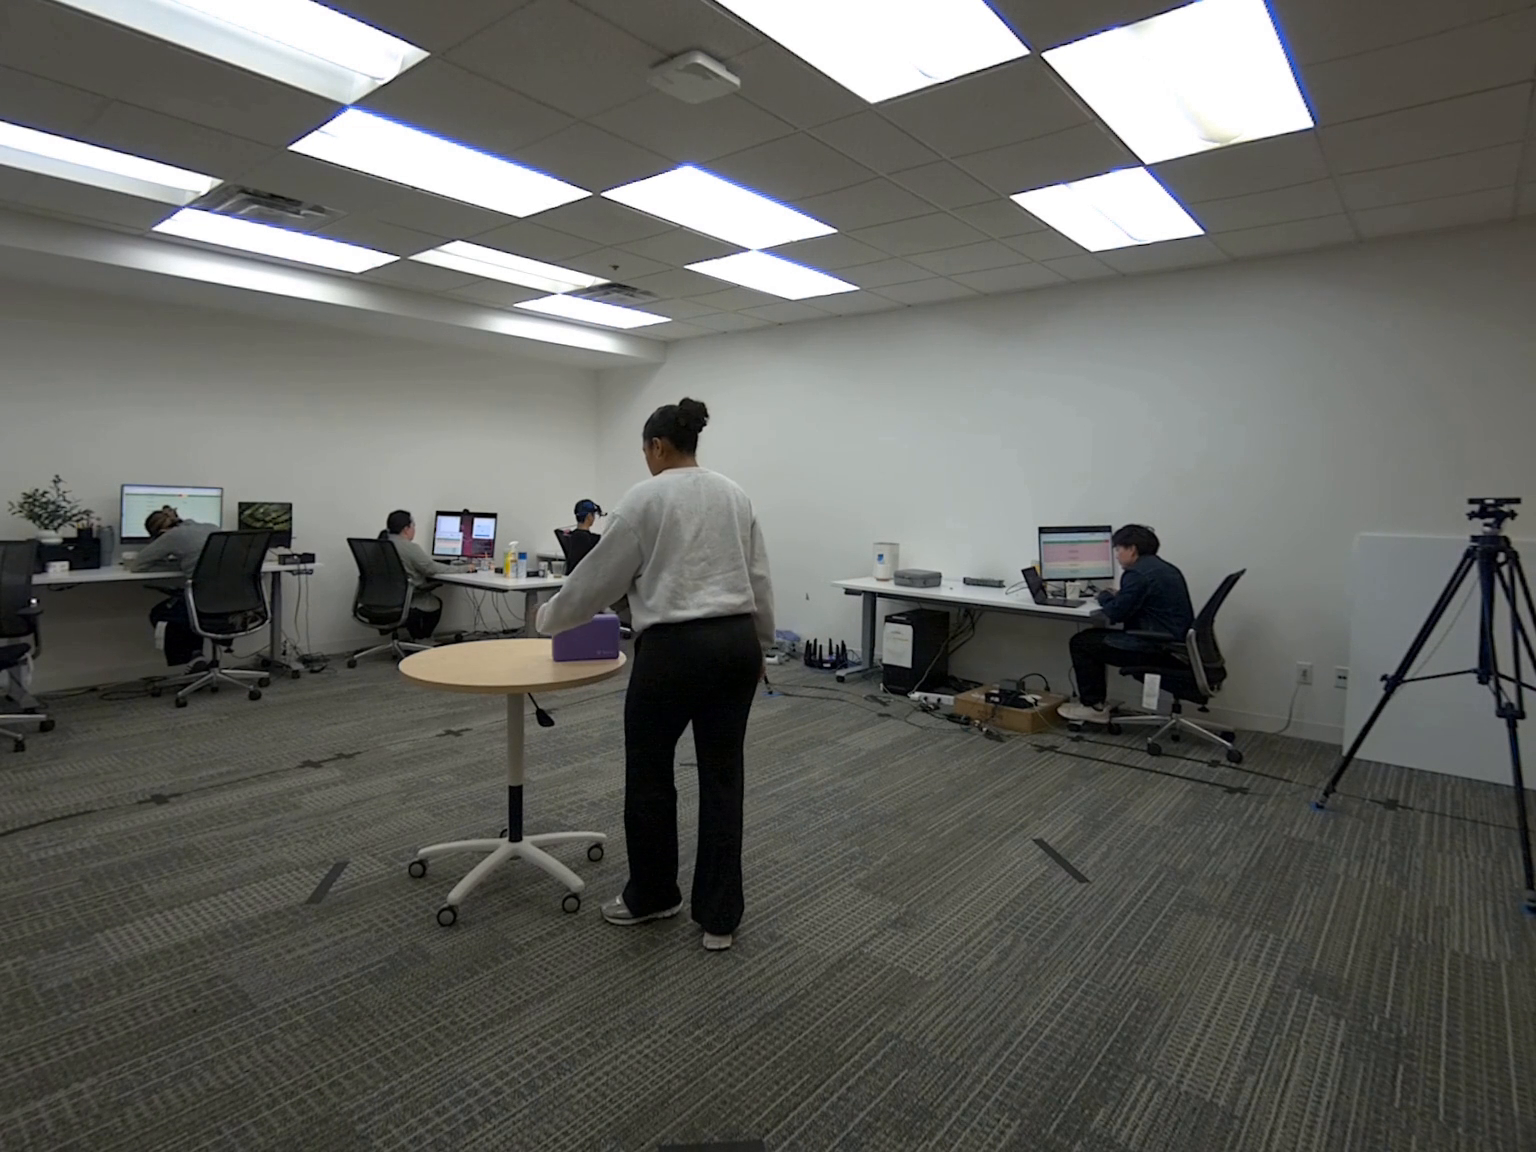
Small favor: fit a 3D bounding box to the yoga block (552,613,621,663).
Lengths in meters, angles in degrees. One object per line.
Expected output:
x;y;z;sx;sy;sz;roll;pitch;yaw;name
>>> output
-0.656;0.215;2.980;0.226;0.149;0.078;-1;2;-16;yoga block
